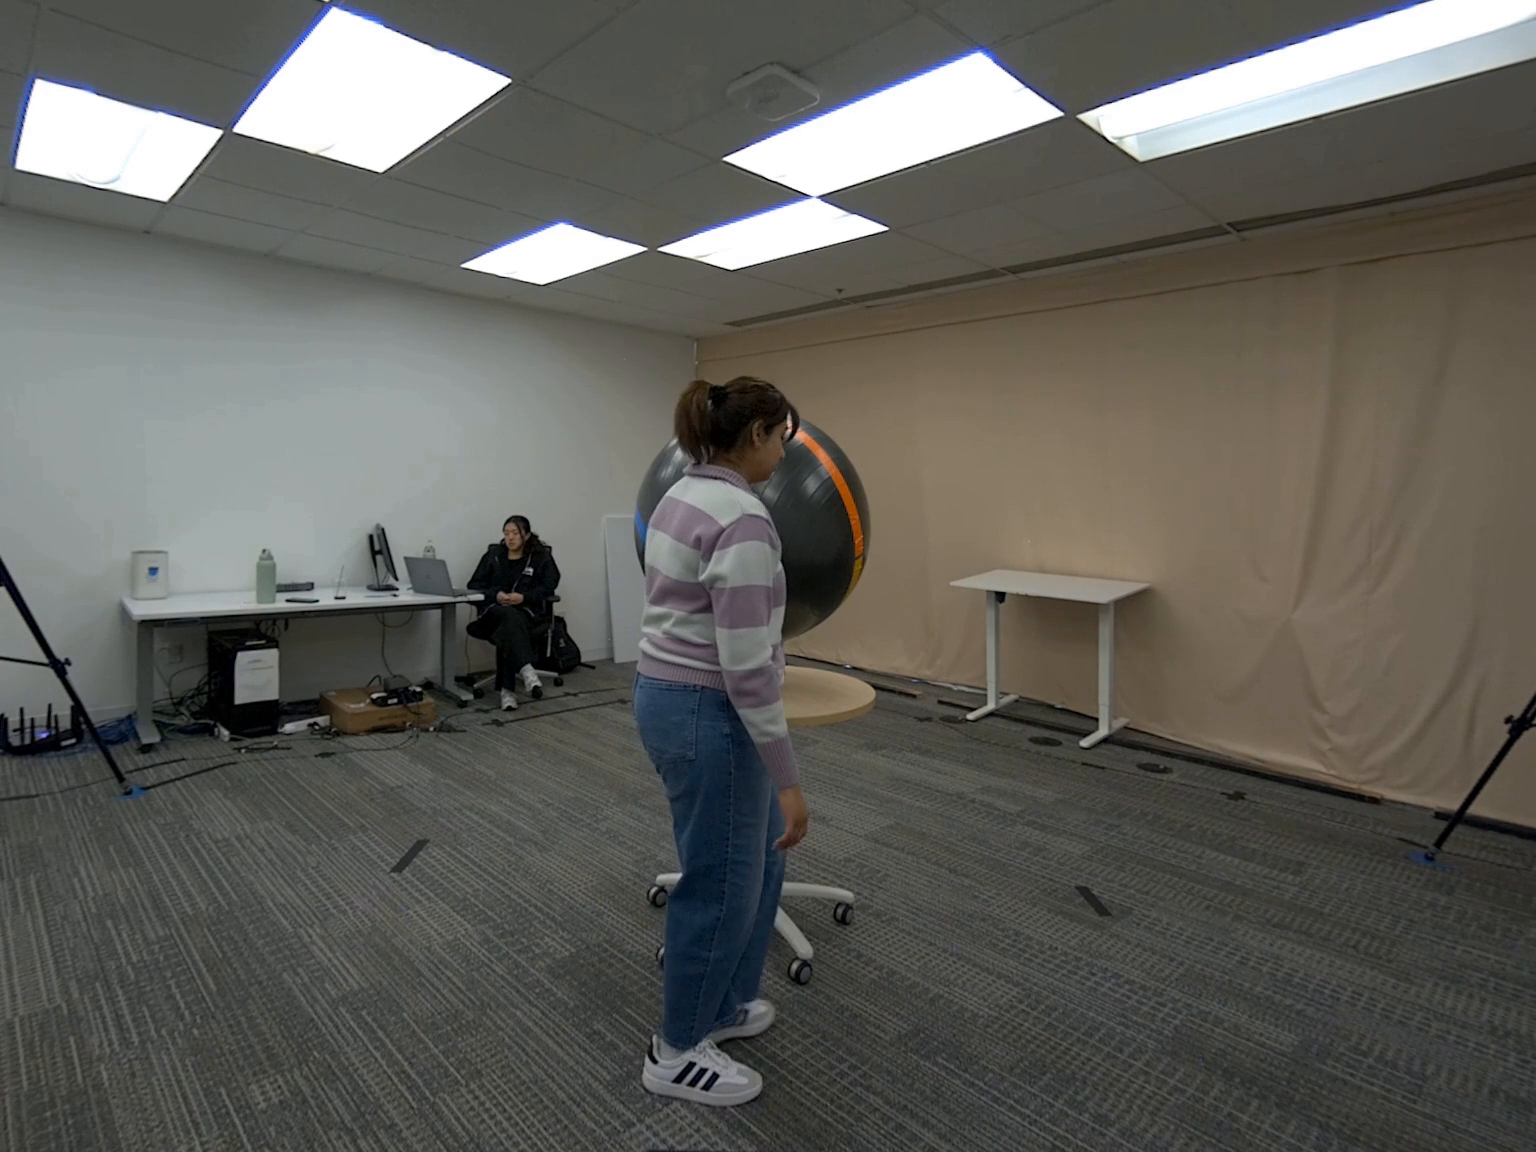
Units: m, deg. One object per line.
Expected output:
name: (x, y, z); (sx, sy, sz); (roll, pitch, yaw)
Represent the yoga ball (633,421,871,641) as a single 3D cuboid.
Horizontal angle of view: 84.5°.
yoga ball: (-0.048, -0.152, 2.712); (0.757, 0.756, 0.761); (1, 4, -1)
